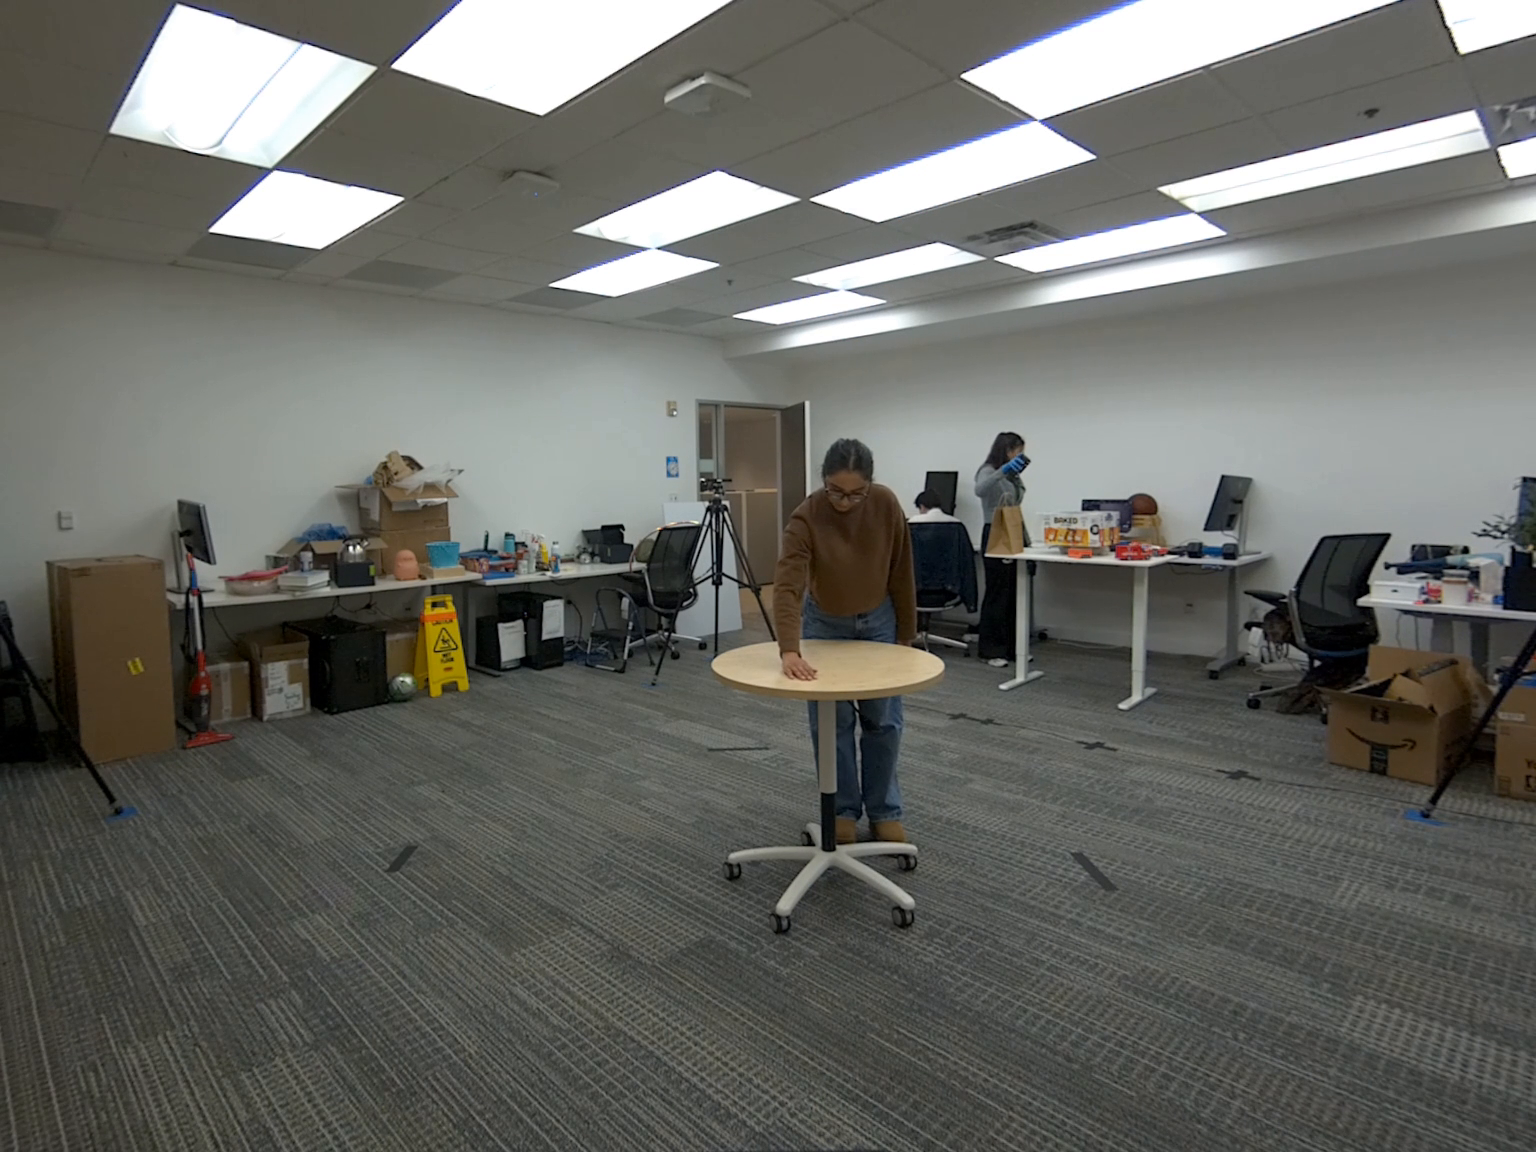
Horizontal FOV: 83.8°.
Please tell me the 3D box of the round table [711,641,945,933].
[{"bbox_3d":[0.204,0.680,2.870,0.763,0.790,0.768,-1,5,-2],"label":"round table"}]
